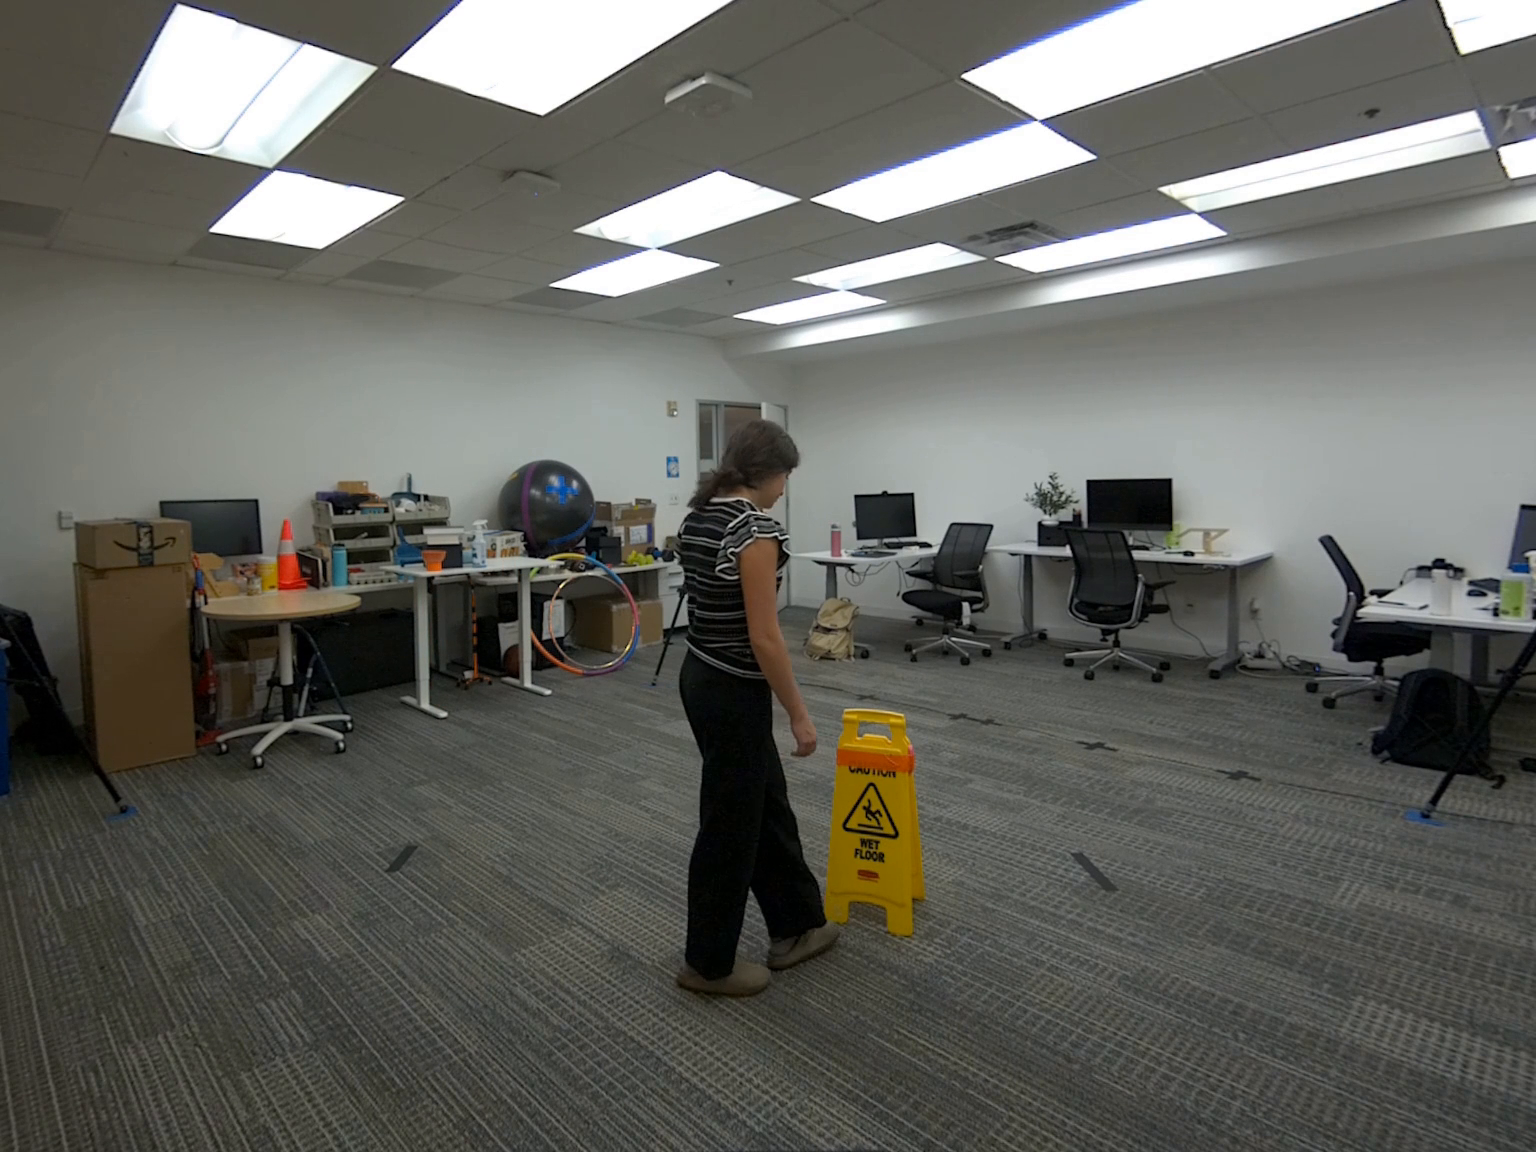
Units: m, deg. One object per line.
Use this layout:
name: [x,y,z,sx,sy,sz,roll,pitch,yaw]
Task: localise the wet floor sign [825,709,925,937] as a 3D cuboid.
wet floor sign: [0.348,0.757,2.732,0.288,0.643,0.285,0,5,20]
